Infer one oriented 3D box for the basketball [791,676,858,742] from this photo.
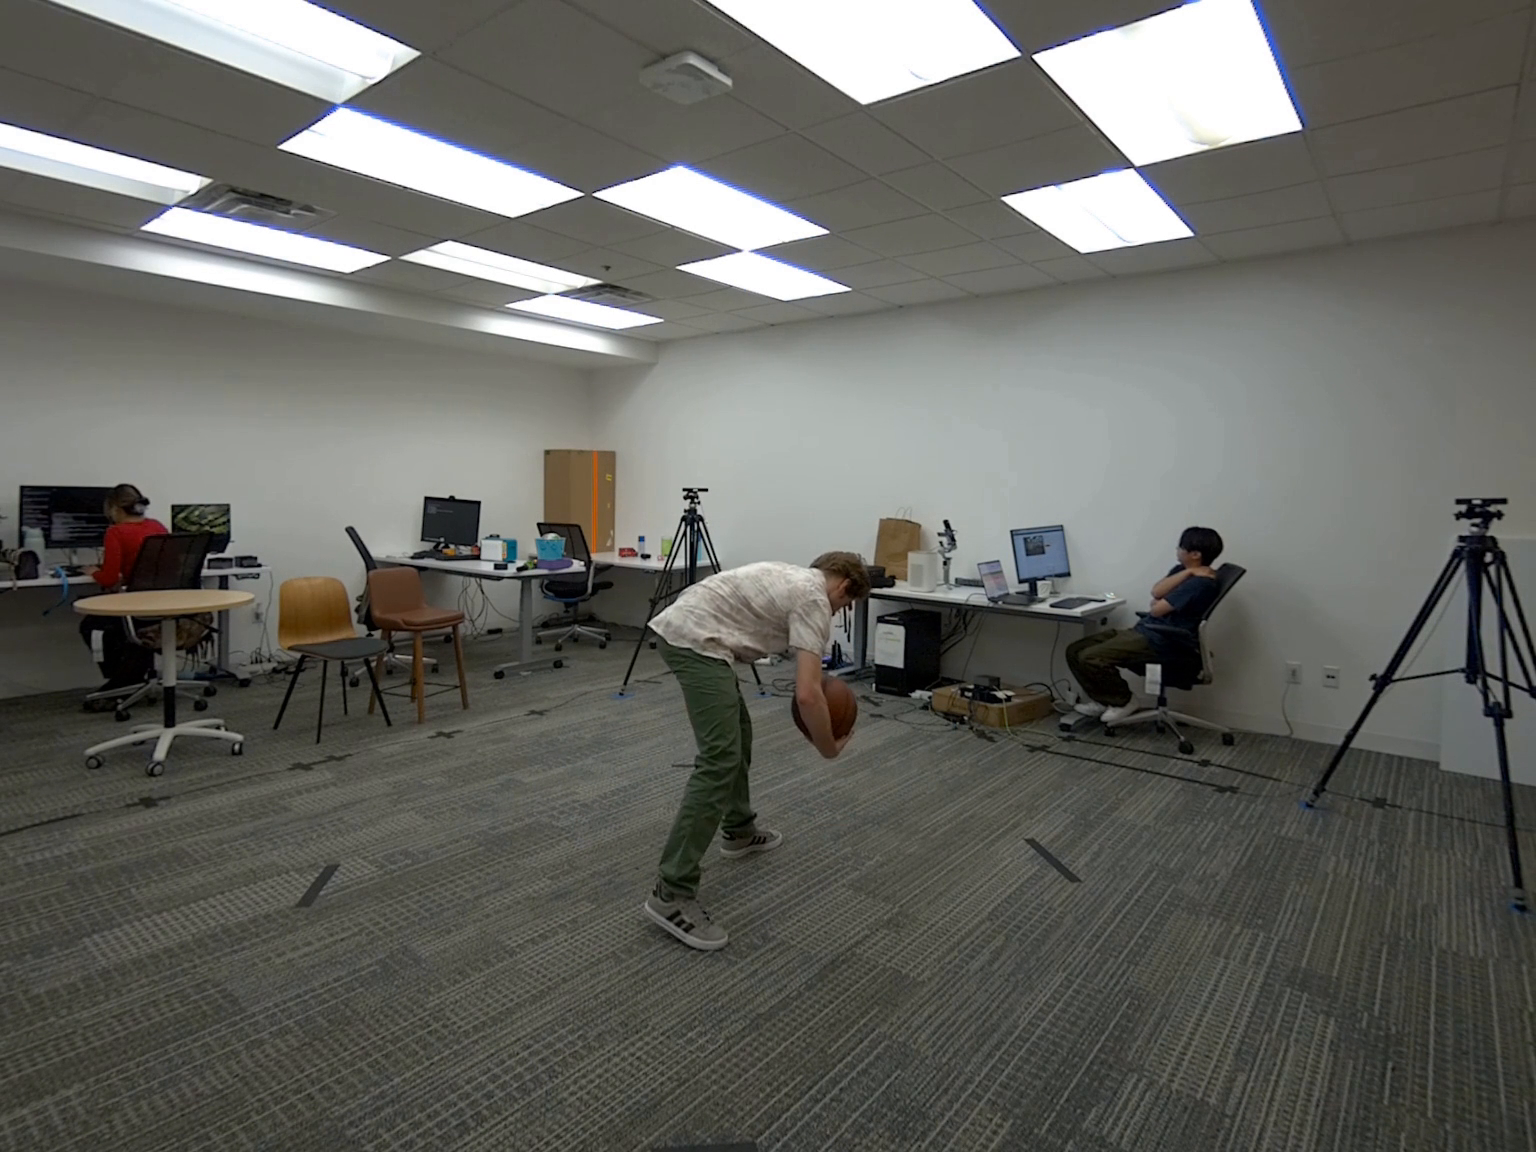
[{"bbox_3d":[0.197,0.492,3.070,0.235,0.235,0.237,1,4,-2],"label":"basketball"}]
